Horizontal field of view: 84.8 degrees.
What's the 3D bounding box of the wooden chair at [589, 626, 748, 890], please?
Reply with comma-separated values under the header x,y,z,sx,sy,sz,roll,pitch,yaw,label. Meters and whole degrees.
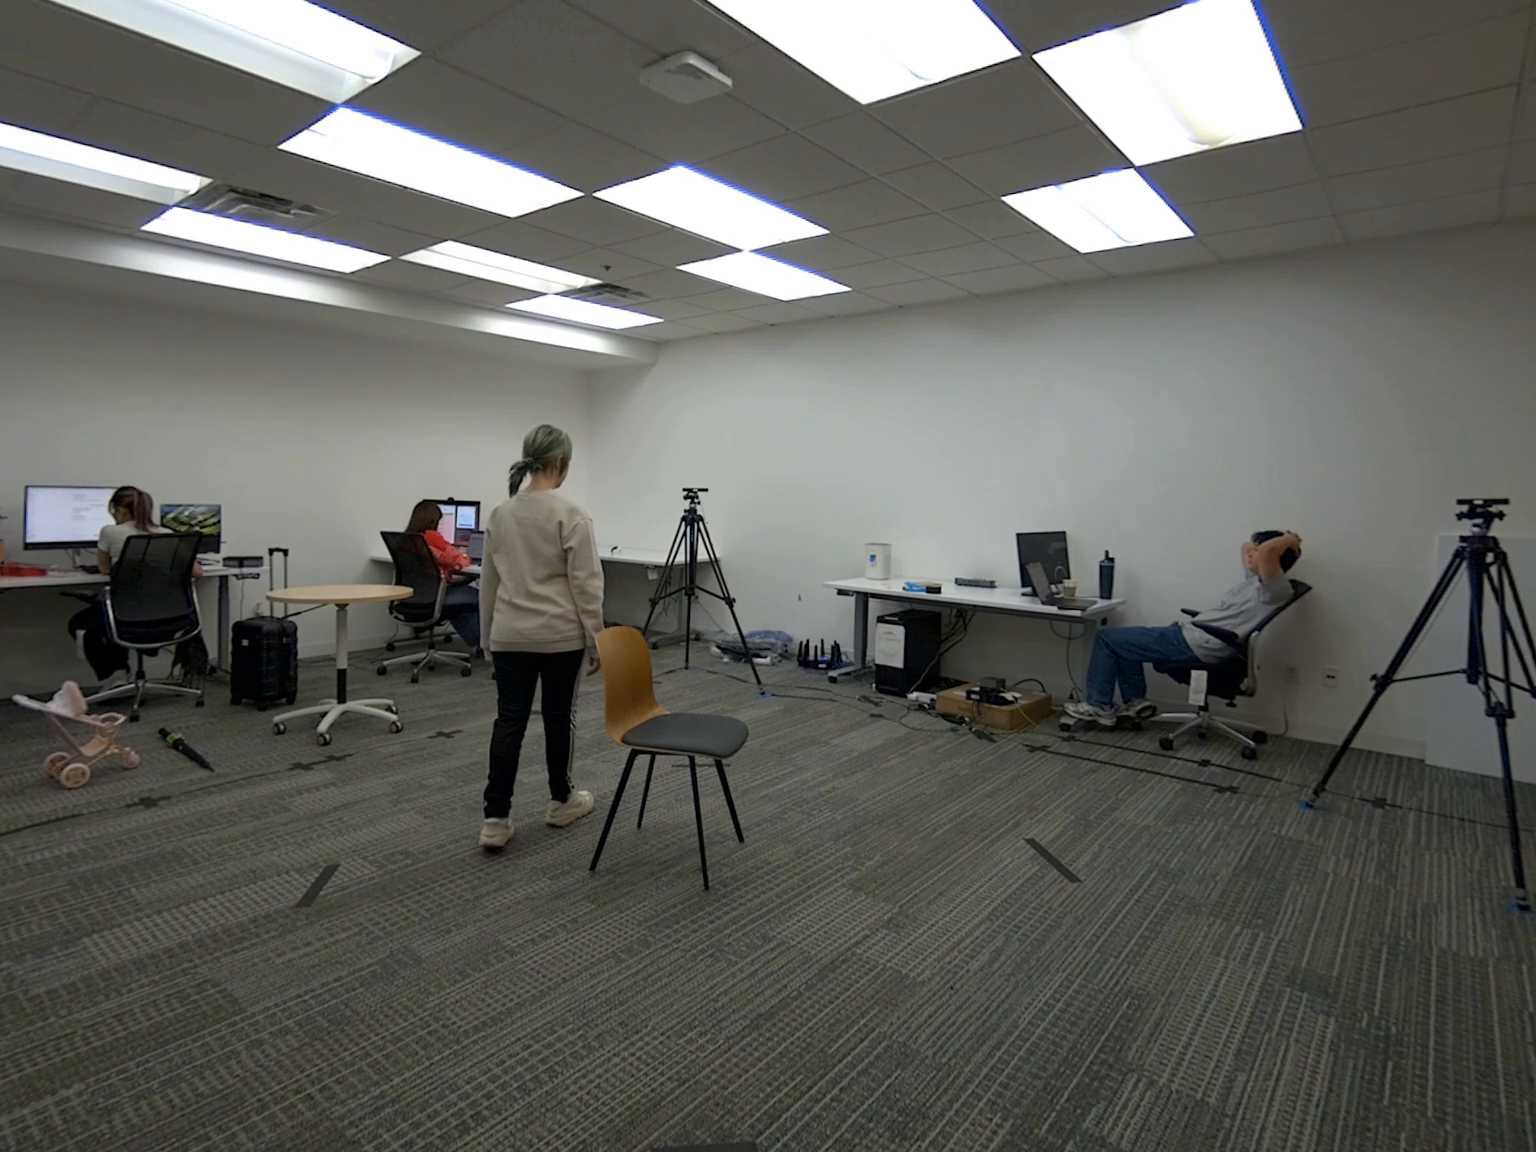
x,y,z,sx,sy,sz,roll,pitch,yaw,label
-0.359,0.632,3.187,0.532,0.876,0.470,-2,2,17,wooden chair
